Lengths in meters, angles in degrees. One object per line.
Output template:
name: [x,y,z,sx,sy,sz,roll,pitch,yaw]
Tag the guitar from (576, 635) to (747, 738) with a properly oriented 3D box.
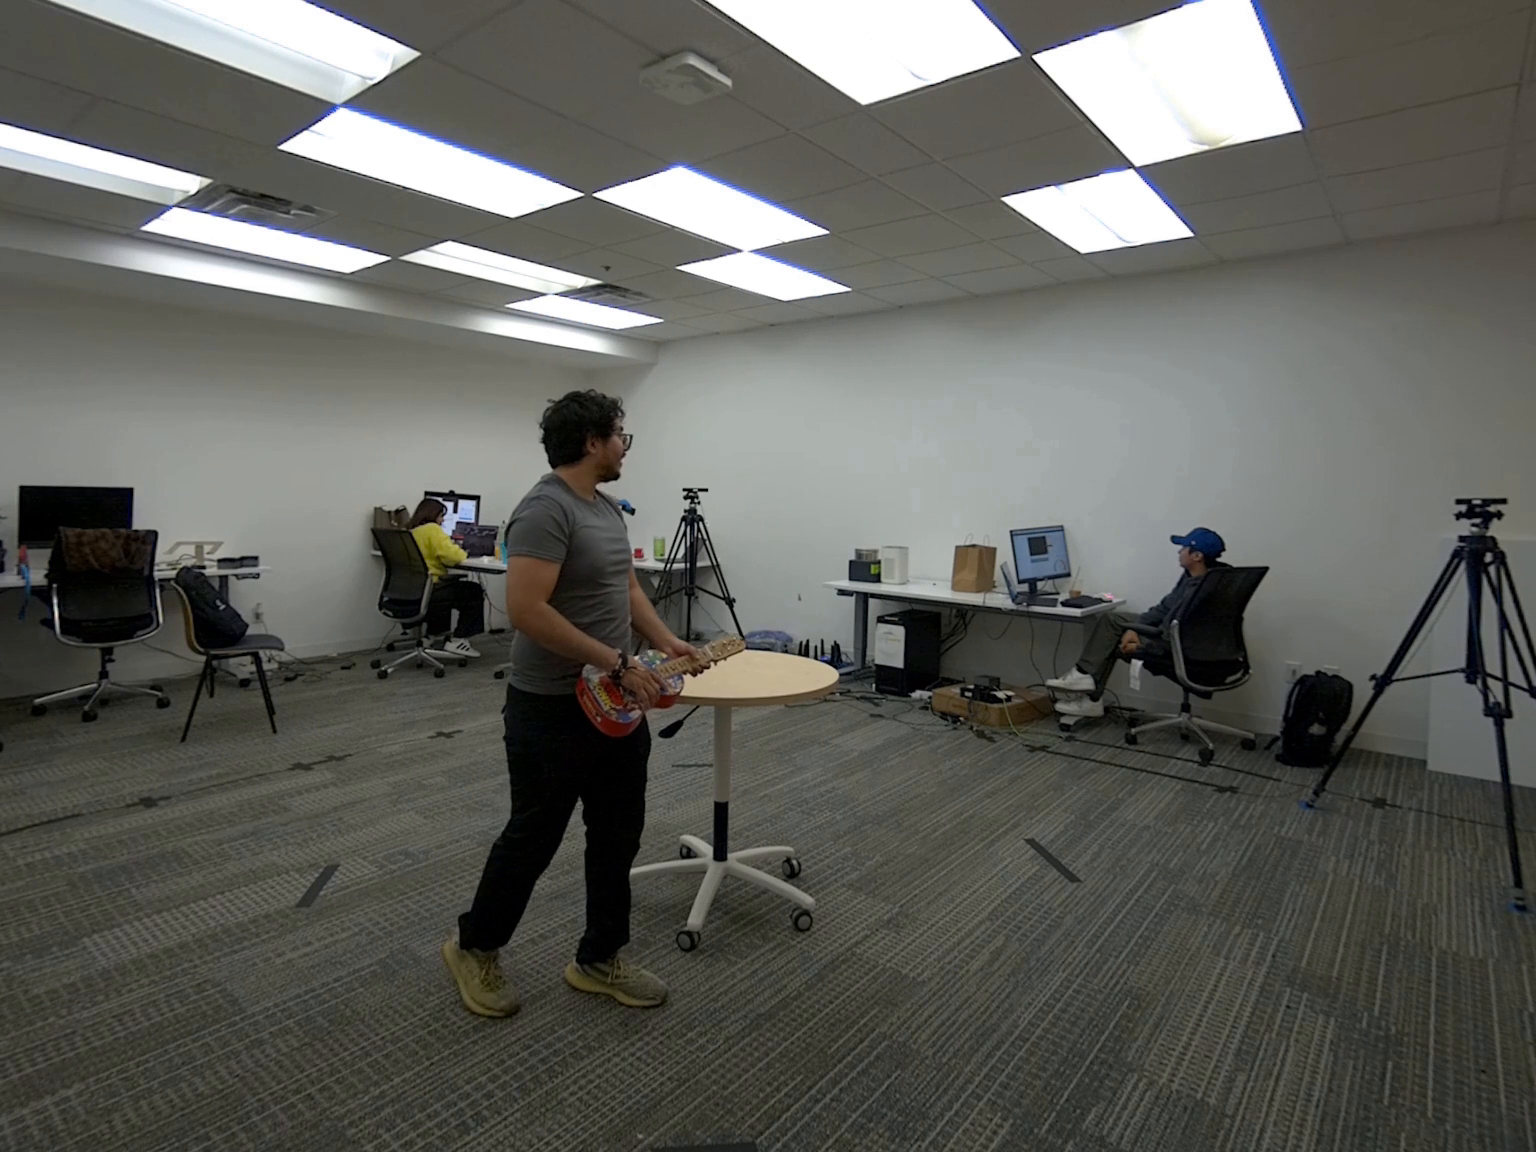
guitar: [-0.257,0.276,2.204,0.485,0.070,0.200,-8,51,-34]
